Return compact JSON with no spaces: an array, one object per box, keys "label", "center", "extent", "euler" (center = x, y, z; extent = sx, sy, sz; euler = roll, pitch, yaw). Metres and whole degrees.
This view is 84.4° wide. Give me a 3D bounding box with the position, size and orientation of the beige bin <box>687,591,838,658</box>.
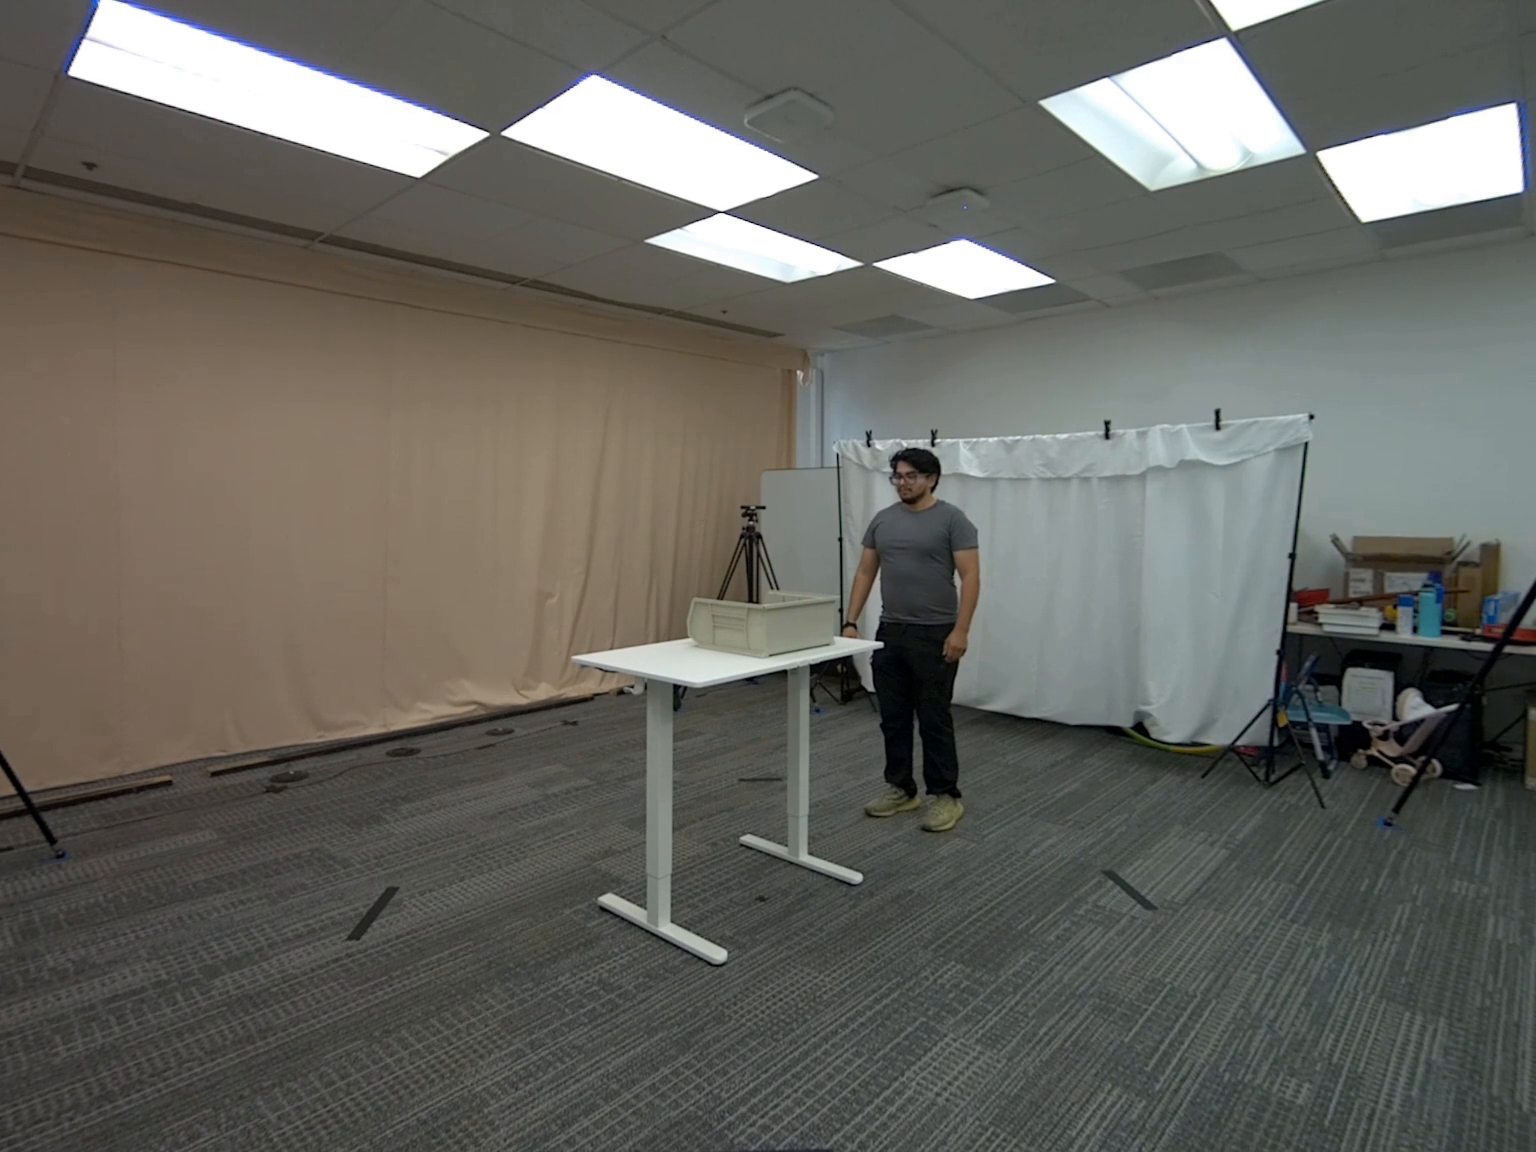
[{"label":"beige bin","center":[-0.017,0.166,3.069],"extent":[0.390,0.188,0.409],"euler":[6,6,42]}]
